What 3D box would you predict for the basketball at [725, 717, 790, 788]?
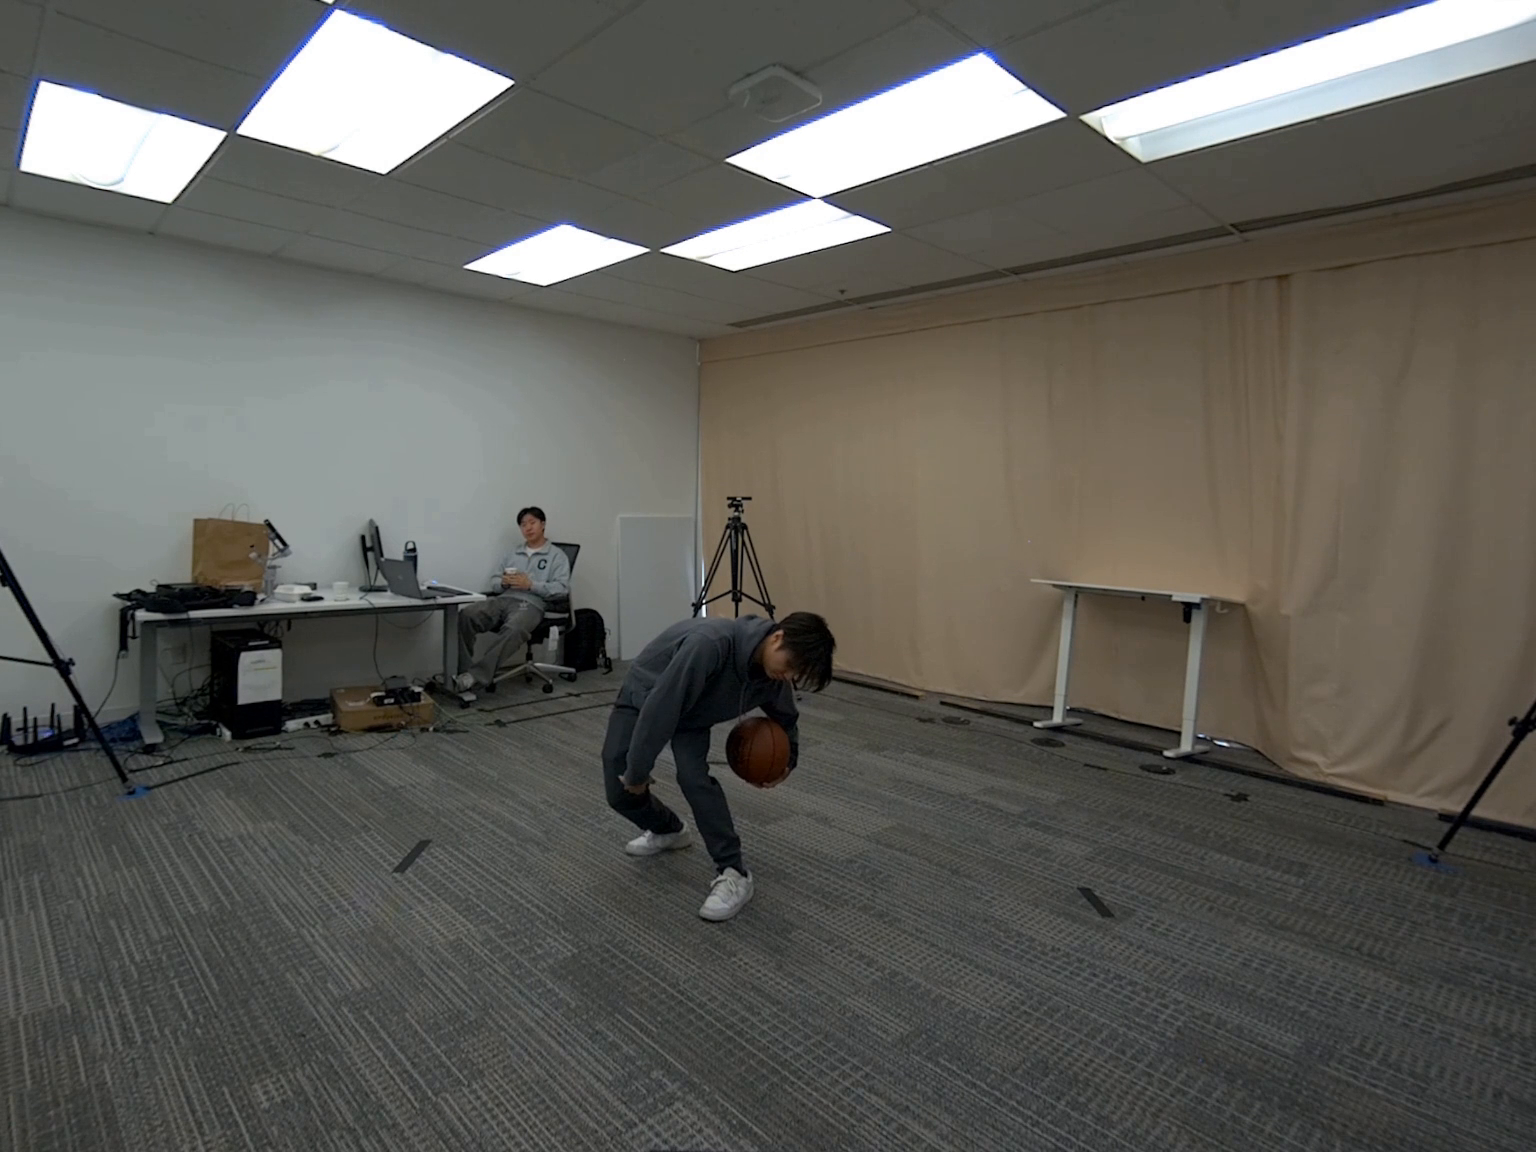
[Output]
[{"bbox_3d":[-0.047,0.641,3.098,0.236,0.235,0.237,1,4,-1],"label":"basketball"}]
